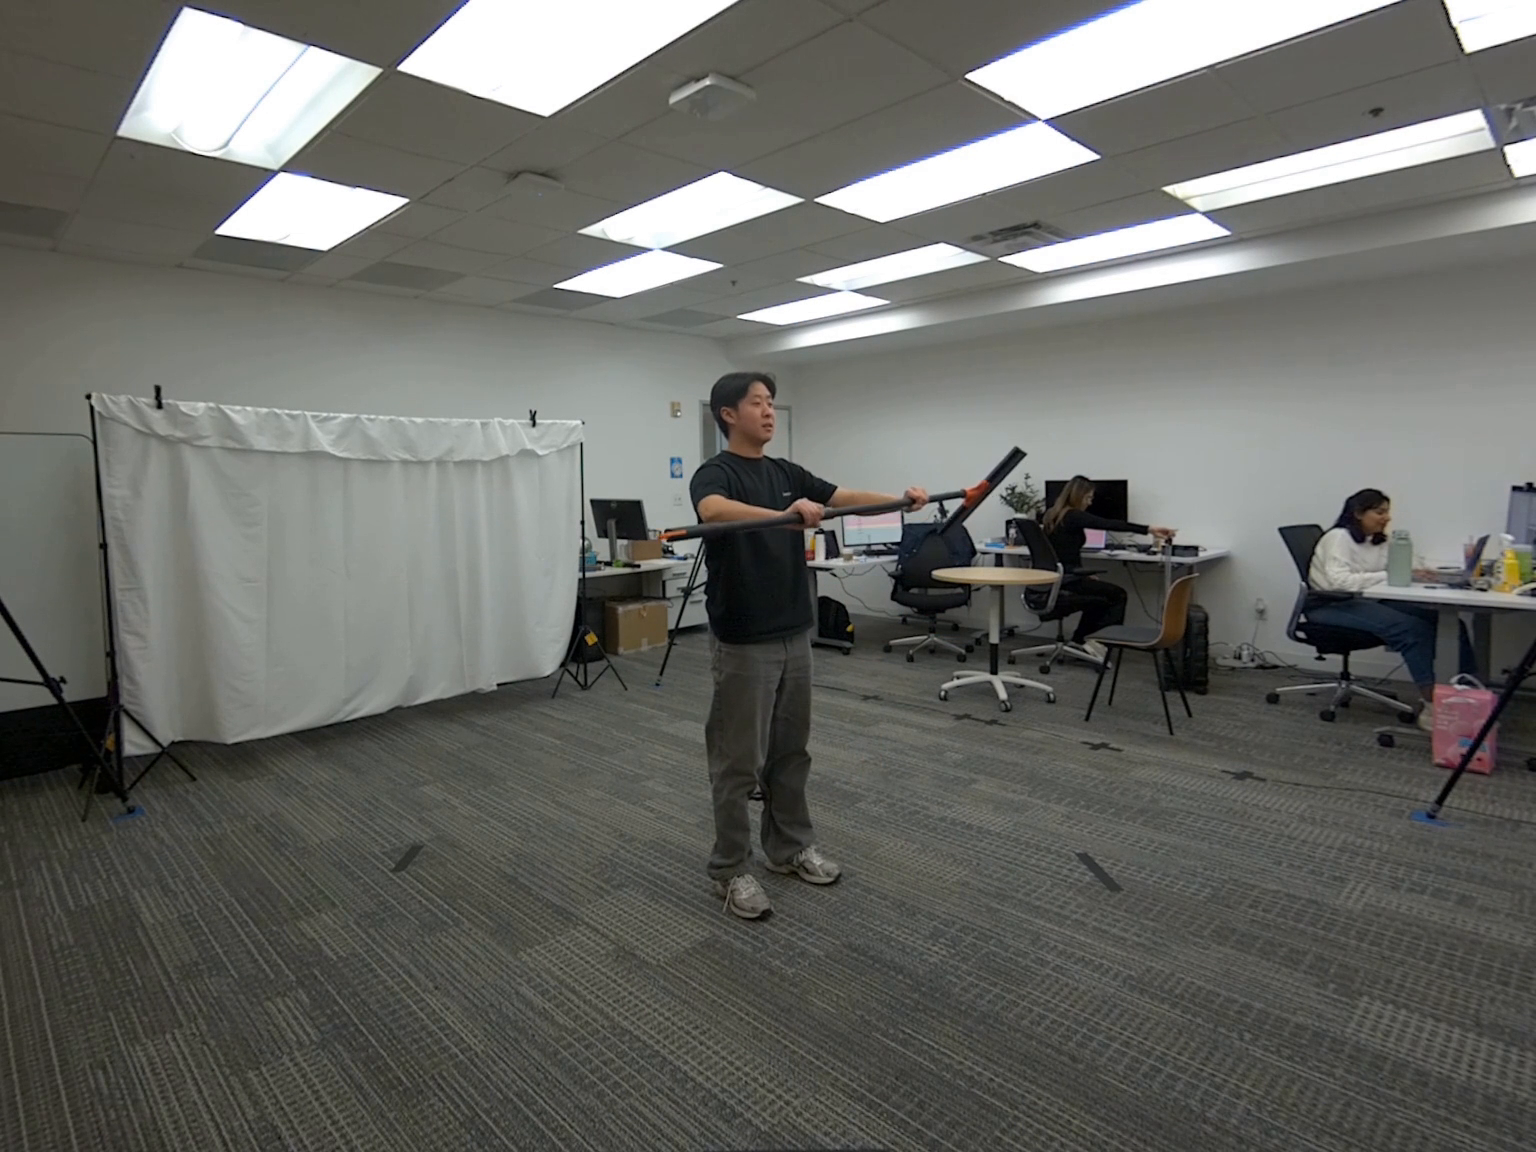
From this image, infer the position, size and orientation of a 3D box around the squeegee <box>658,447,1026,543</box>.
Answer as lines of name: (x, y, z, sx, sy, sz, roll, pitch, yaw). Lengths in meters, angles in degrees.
squeegee: (0.259, -0.184, 2.516, 1.501, 0.054, 0.437, -11, -28, -46)
